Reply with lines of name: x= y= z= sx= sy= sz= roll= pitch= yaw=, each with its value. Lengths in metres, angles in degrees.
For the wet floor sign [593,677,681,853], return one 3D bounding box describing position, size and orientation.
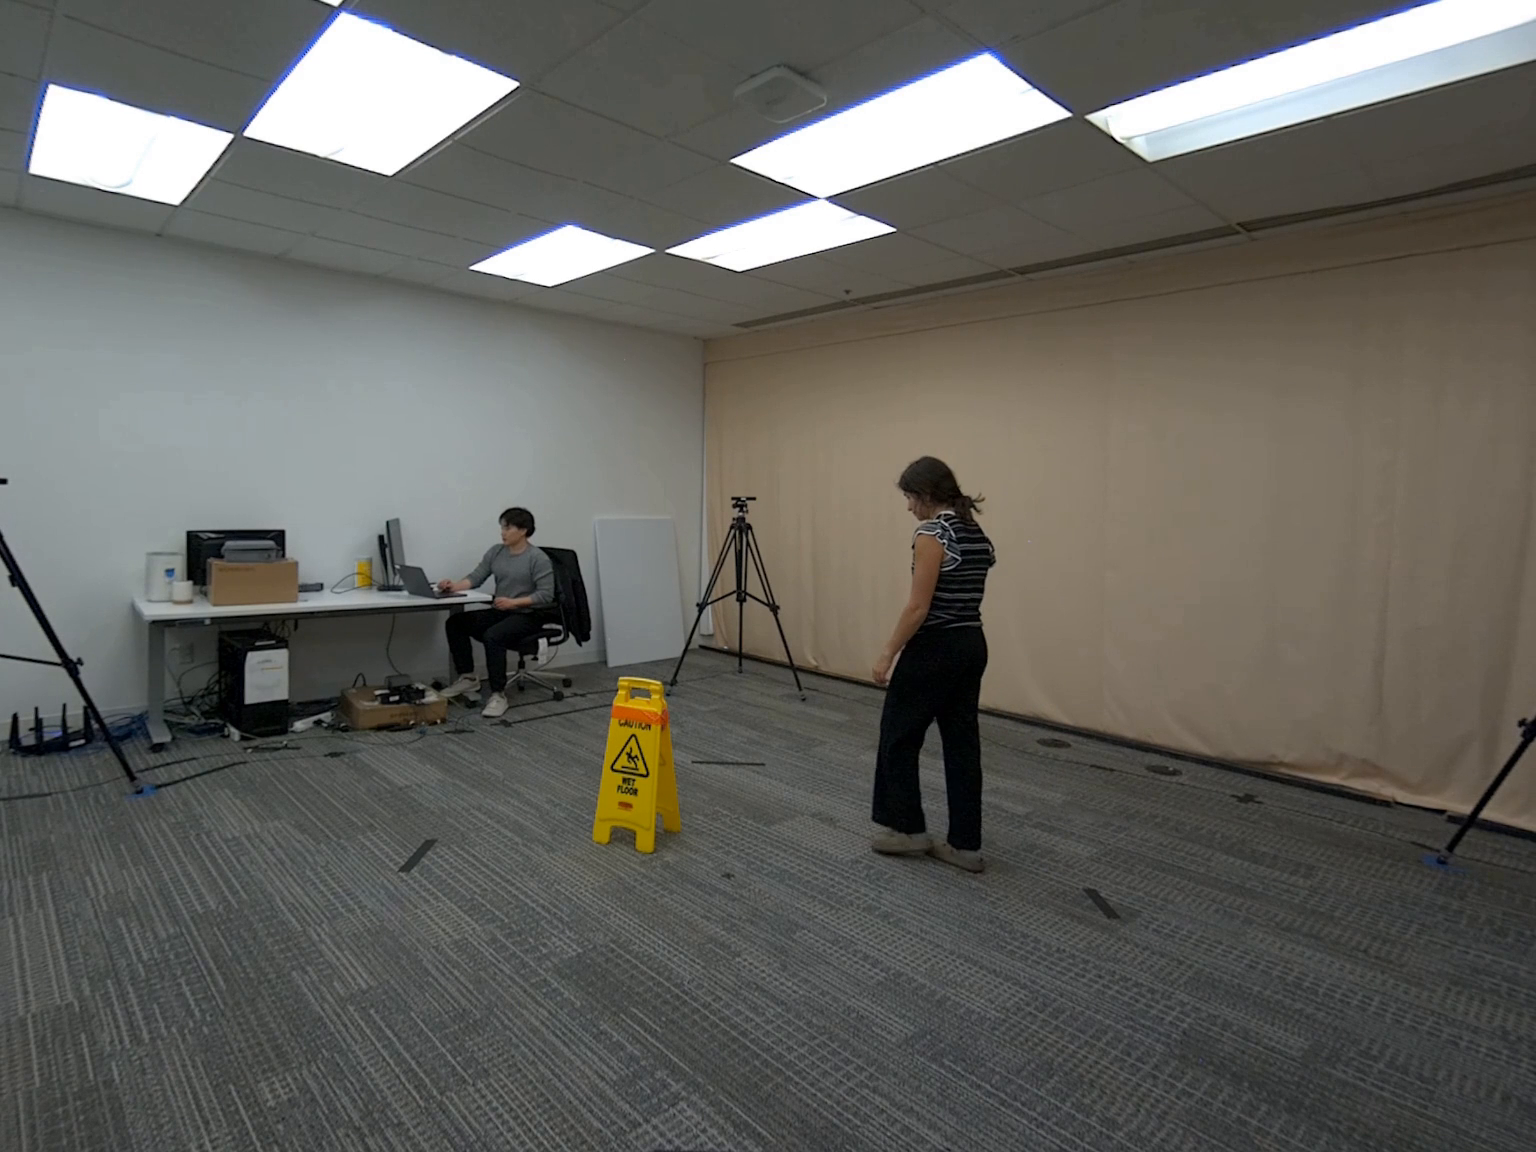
wet floor sign: x=-0.534 y=0.742 z=3.442 sx=0.287 sy=0.645 sz=0.285 roll=3 pitch=2 yaw=20
